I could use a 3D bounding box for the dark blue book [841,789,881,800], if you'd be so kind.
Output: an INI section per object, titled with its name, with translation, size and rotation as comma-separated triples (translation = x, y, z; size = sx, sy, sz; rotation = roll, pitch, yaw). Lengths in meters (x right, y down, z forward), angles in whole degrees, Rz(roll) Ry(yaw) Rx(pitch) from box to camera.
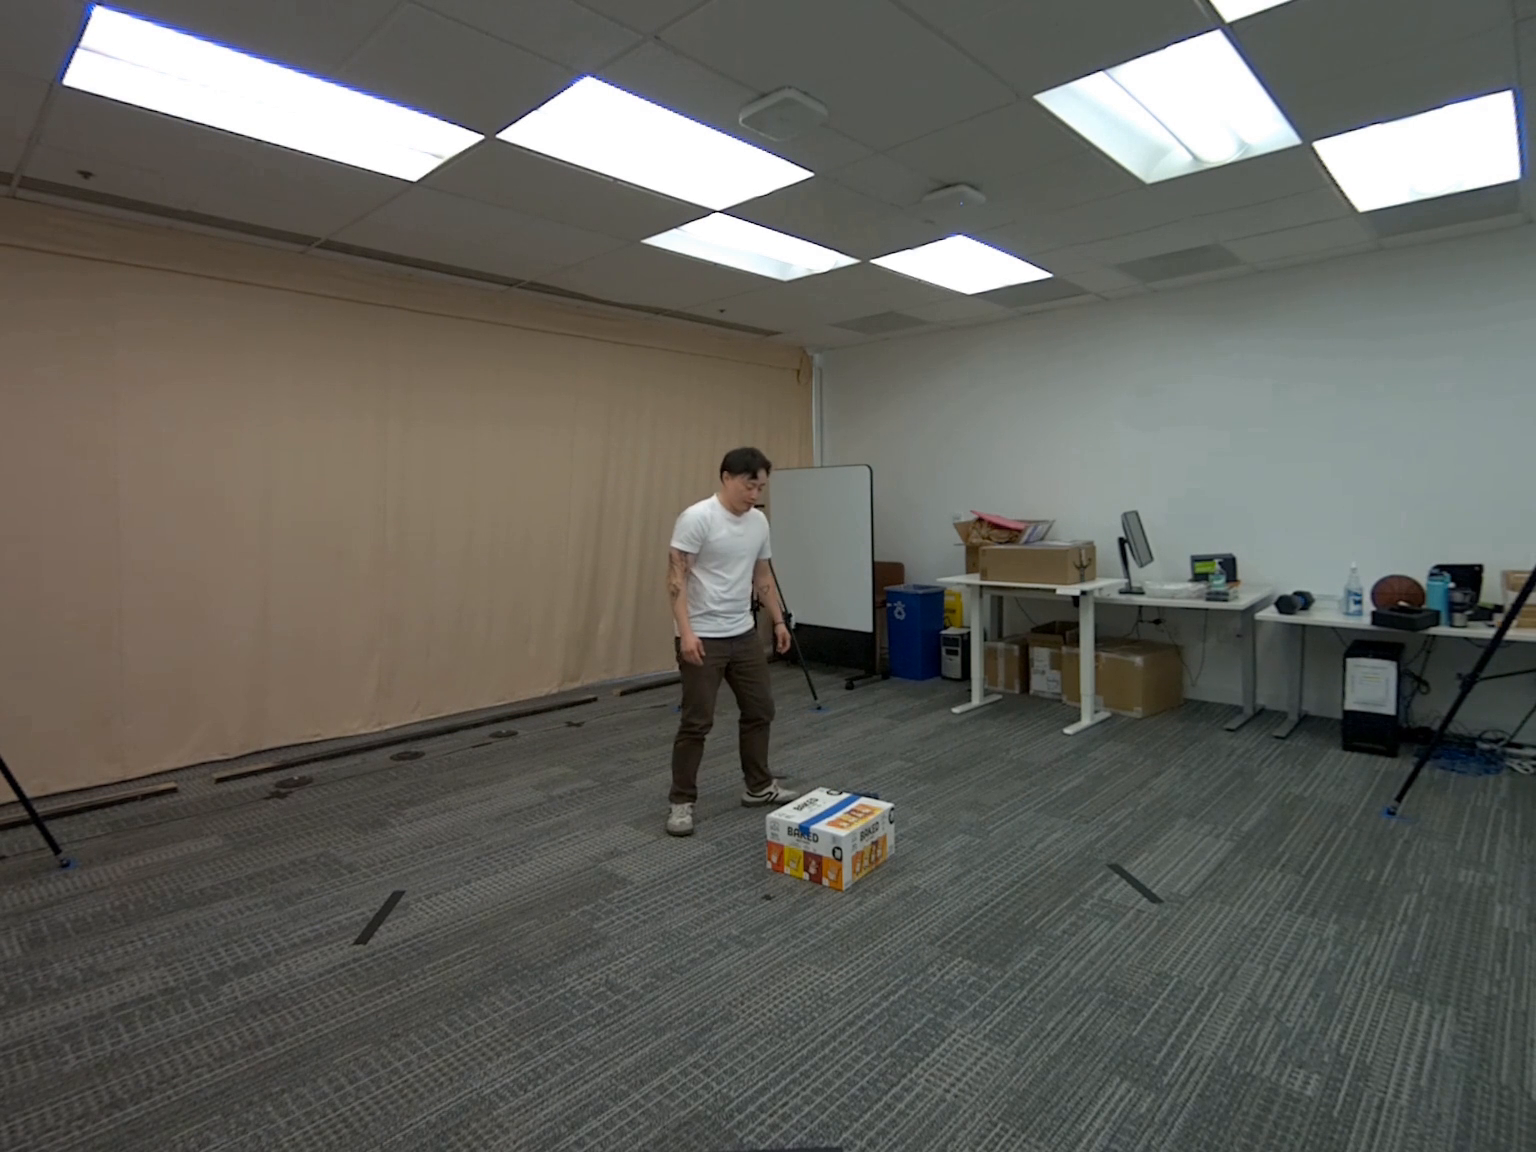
[dark blue book]
translation = 0.388, 1.036, 3.845
size = 0.247, 0.045, 0.162
rotation = -1, 4, 7
